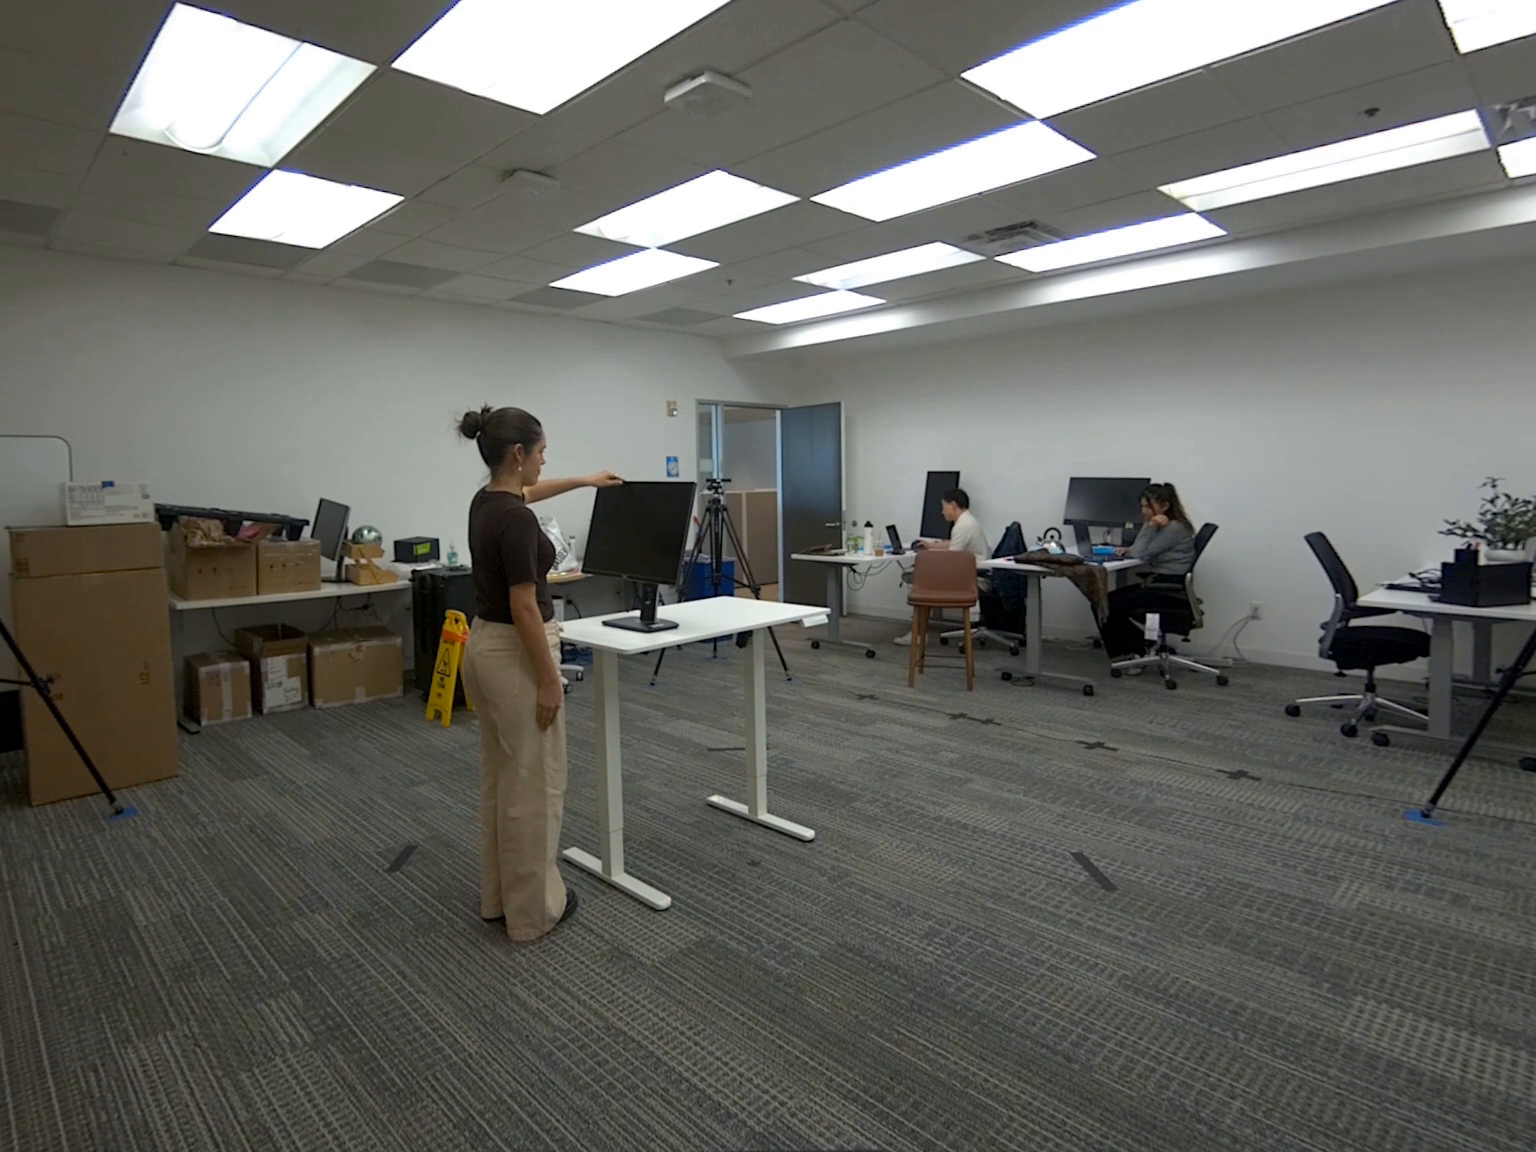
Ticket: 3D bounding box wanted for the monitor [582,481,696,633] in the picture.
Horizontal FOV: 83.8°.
[{"bbox_3d":[-0.446,-0.072,3.033,0.556,0.521,0.182,4,4,42],"label":"monitor"}]
